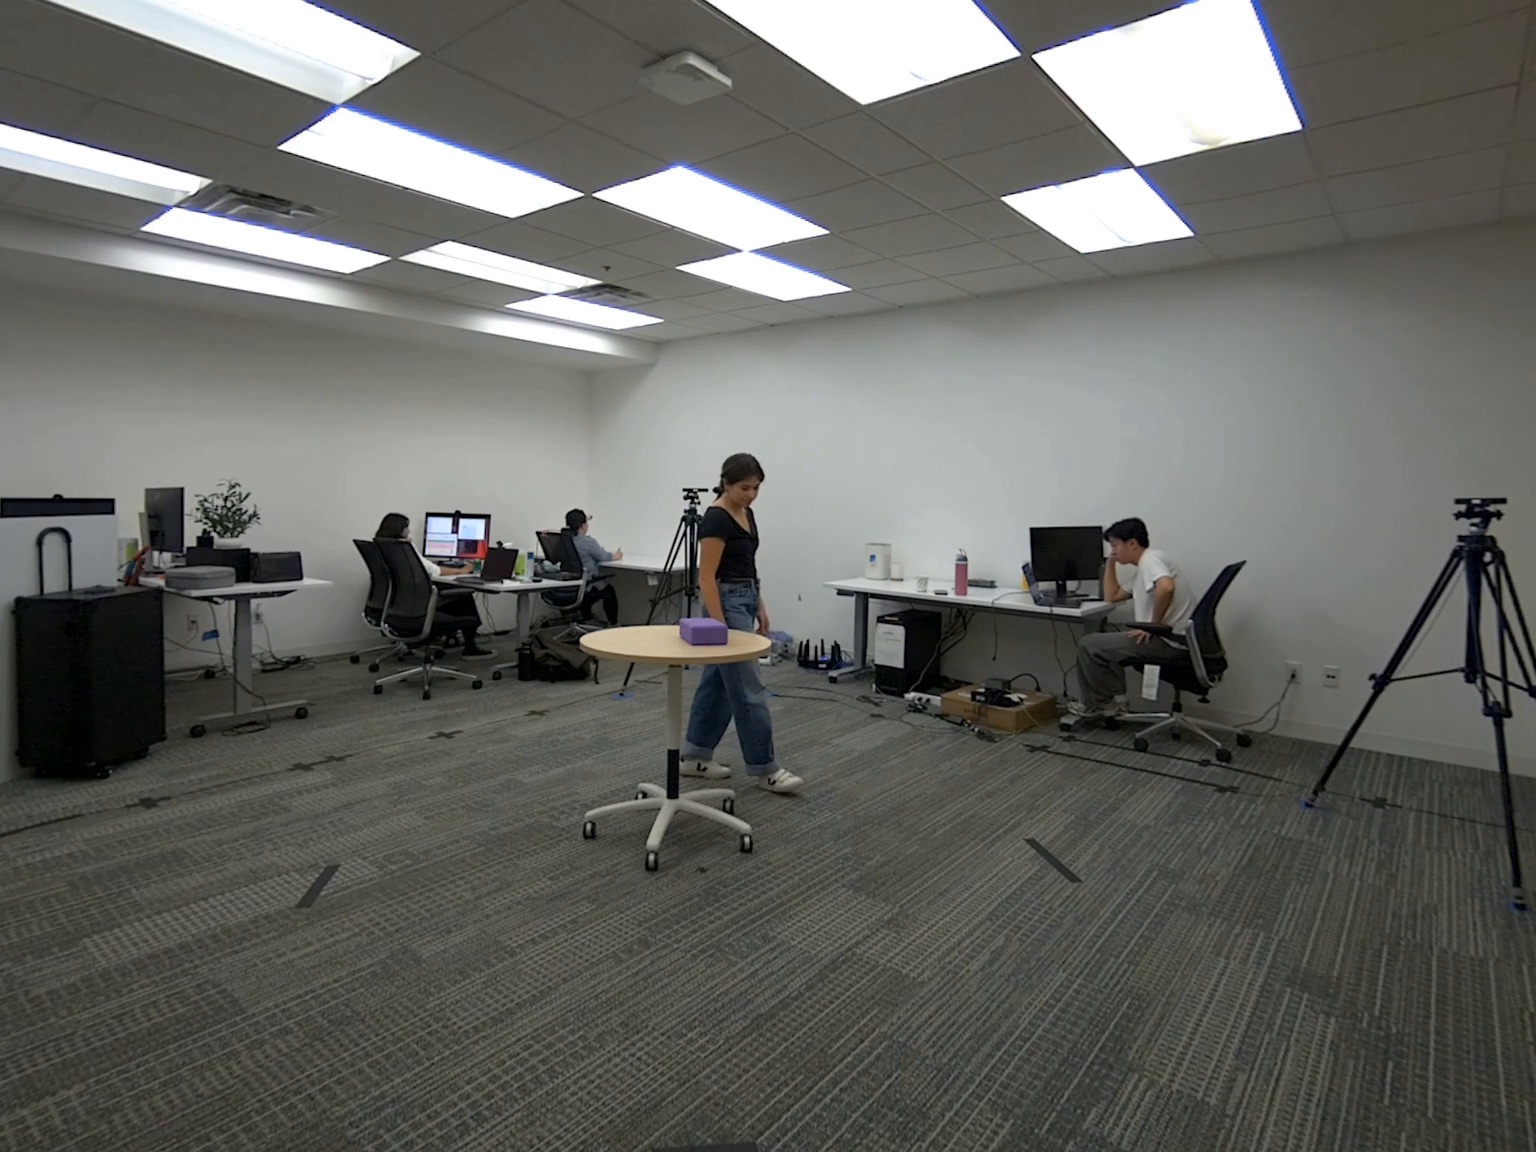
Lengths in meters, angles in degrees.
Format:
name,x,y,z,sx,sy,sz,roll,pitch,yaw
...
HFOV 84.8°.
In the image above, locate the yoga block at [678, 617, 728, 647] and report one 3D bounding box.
name,x,y,z,sx,sy,sz,roll,pitch,yaw
yoga block,-0.264,0.216,3.412,0.147,0.076,0.234,0,5,-16
